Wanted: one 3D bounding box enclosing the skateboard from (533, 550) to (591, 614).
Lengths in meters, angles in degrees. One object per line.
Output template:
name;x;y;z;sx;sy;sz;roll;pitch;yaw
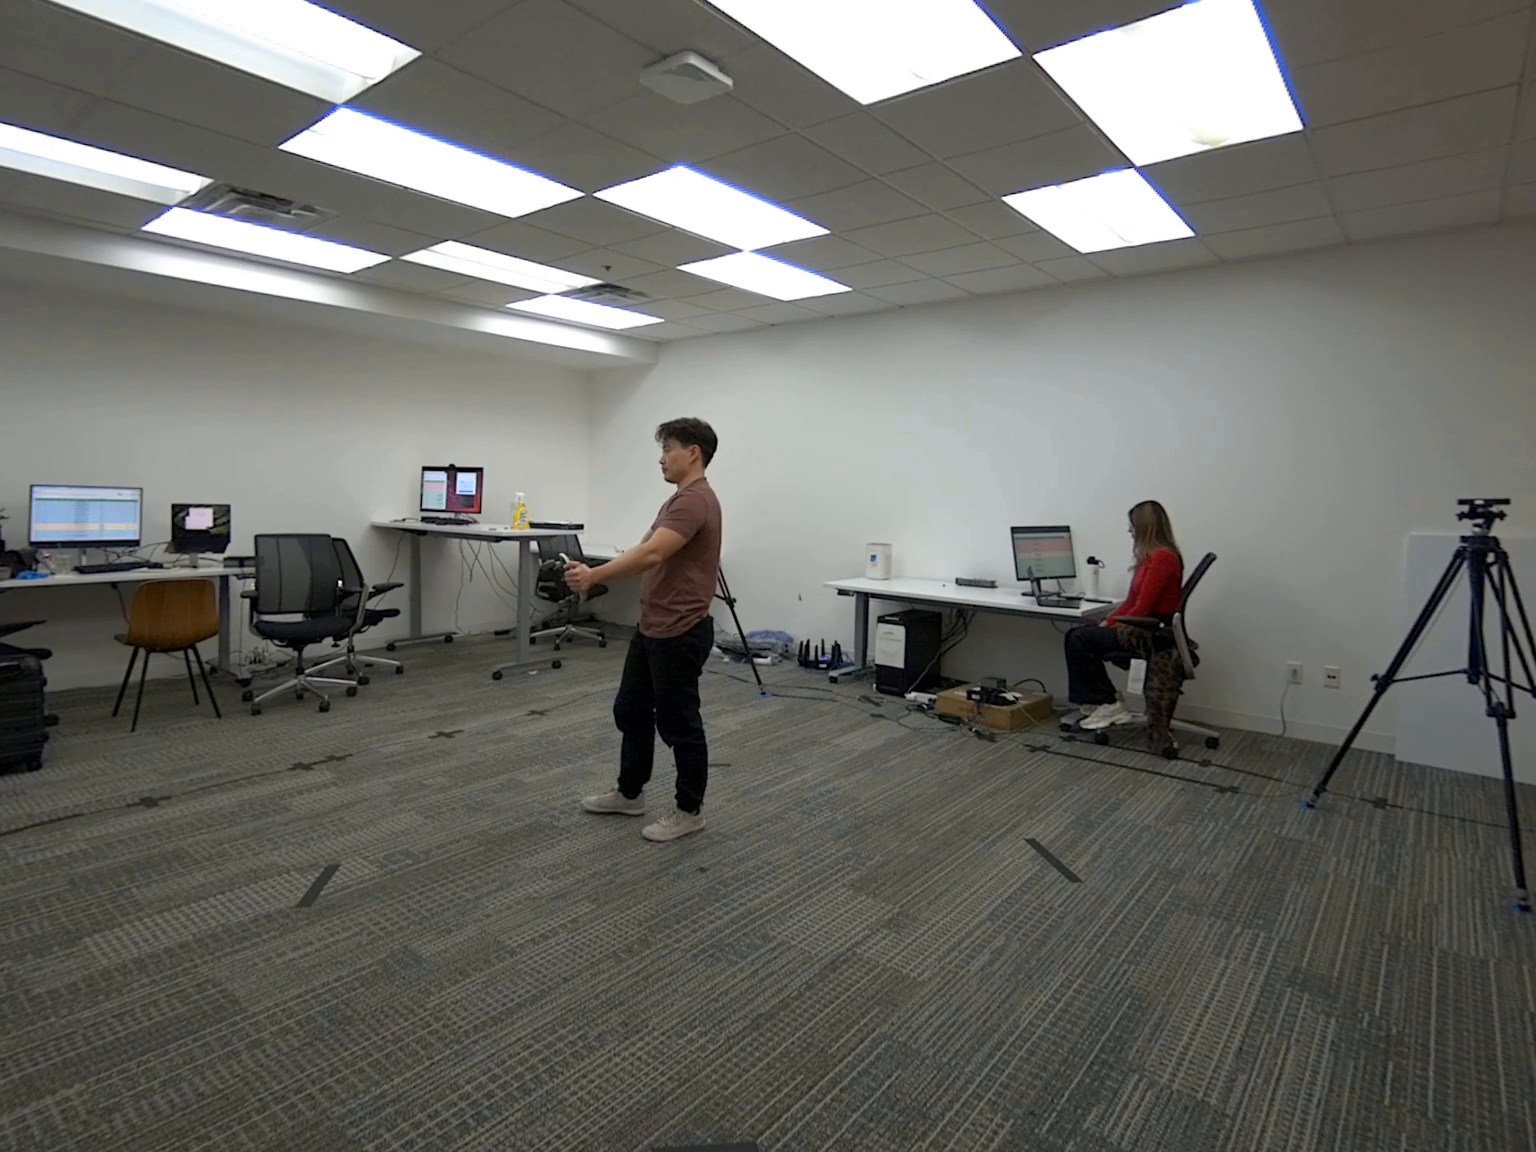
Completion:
skateboard;-0.807;0.020;3.337;0.110;0.193;0.792;-26;4;-10
